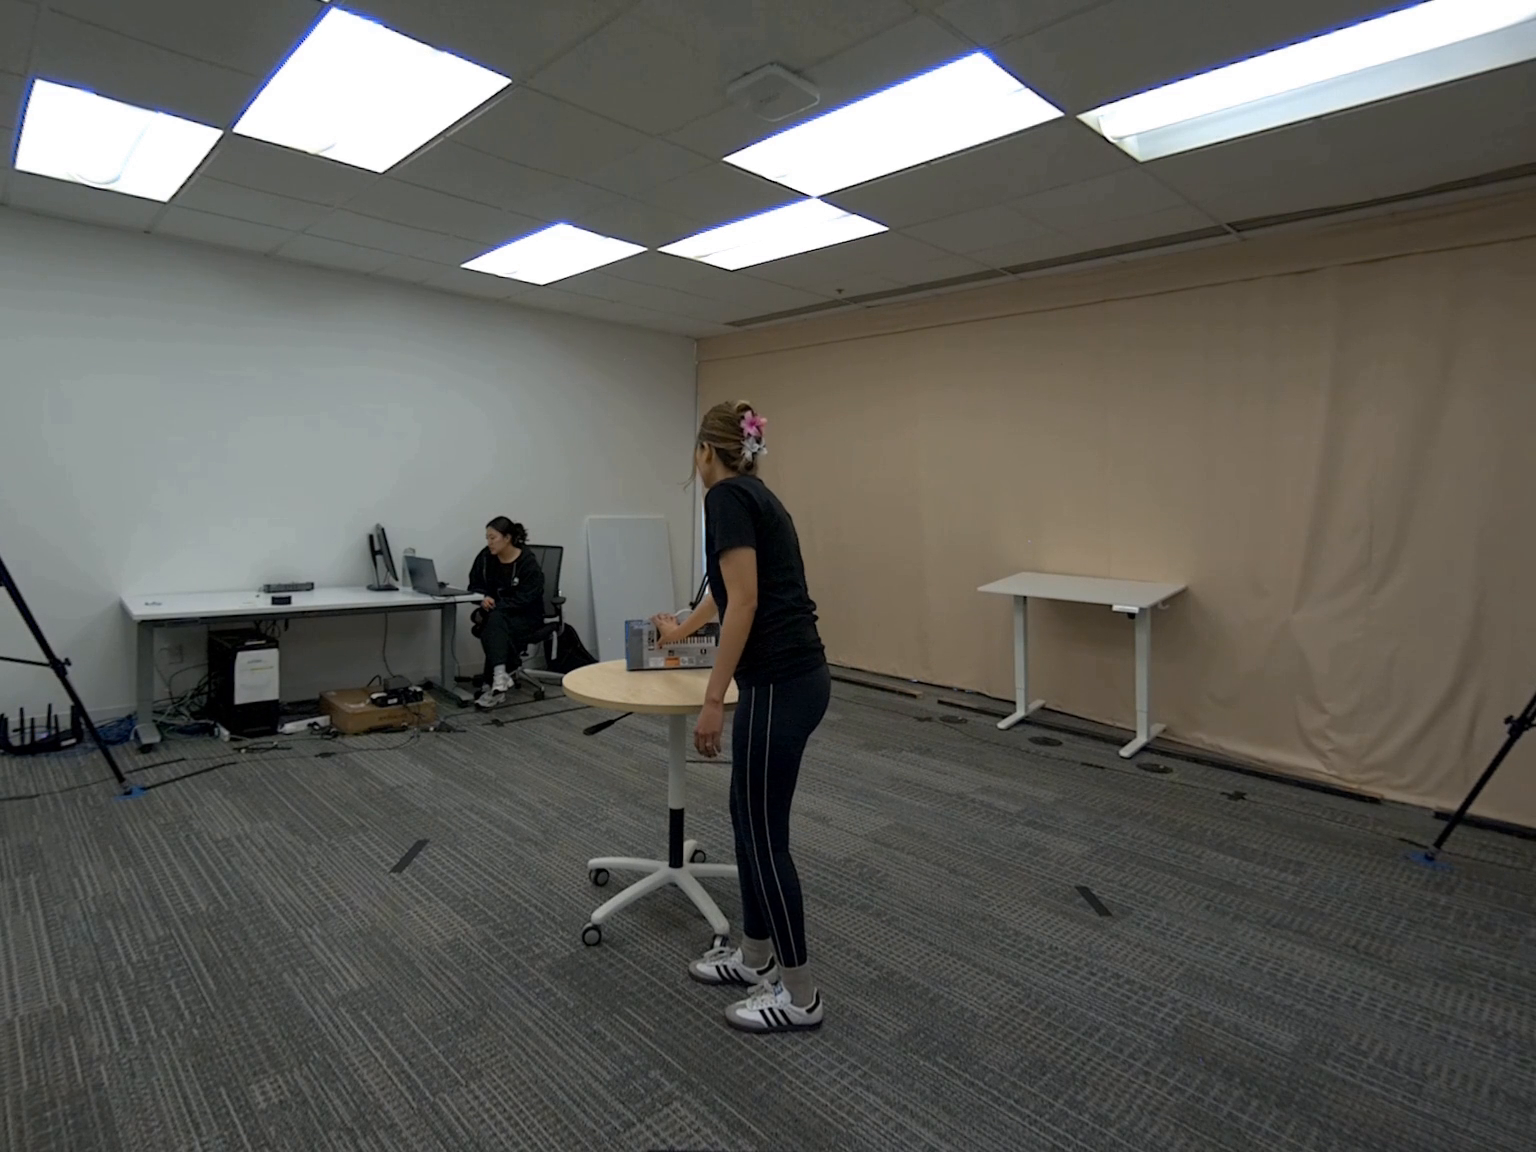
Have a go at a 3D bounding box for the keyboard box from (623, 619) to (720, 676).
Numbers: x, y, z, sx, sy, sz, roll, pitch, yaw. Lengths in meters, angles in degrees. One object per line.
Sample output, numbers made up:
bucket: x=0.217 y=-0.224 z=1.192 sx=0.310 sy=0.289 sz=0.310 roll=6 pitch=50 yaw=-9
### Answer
keyboard box: x=-0.288 y=0.245 z=2.982 sx=0.432 sy=0.176 sz=0.060 roll=-1 pitch=-2 yaw=-15
